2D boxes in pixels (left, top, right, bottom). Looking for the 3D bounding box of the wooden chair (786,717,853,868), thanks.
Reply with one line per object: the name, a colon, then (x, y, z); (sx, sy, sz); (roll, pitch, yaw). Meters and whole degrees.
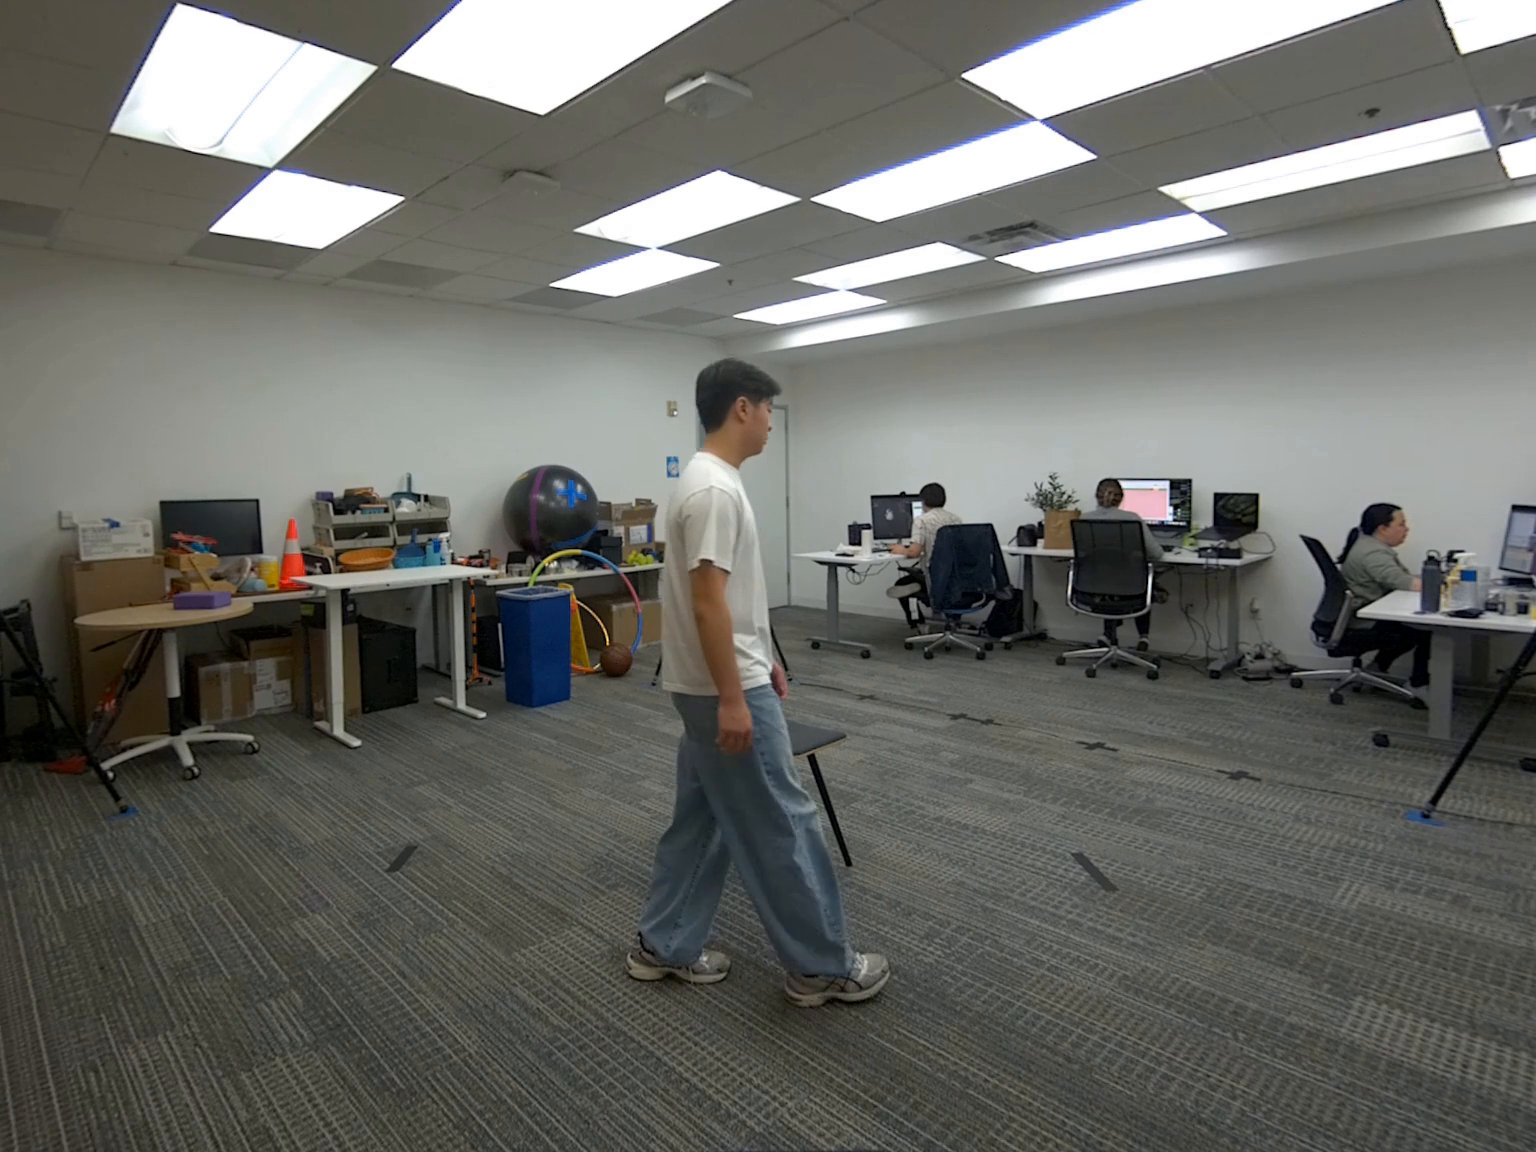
wooden chair: (-0.012, 0.624, 3.049); (0.493, 0.871, 0.511); (3, 10, 44)
